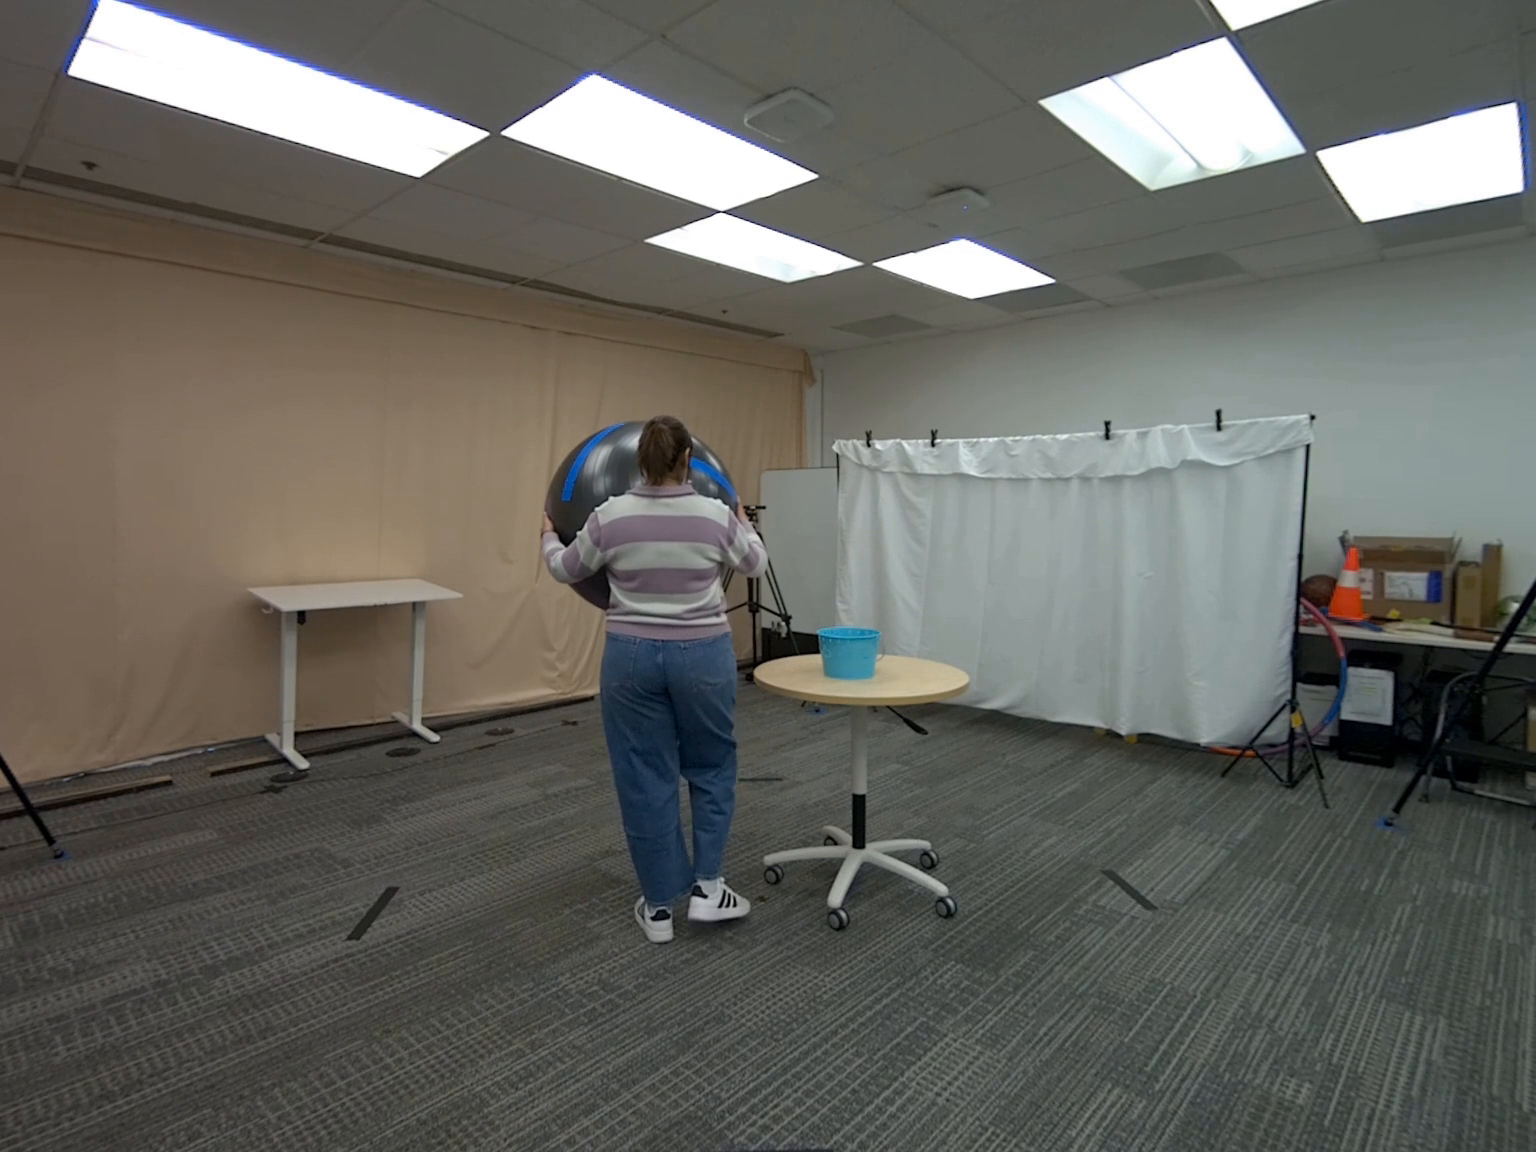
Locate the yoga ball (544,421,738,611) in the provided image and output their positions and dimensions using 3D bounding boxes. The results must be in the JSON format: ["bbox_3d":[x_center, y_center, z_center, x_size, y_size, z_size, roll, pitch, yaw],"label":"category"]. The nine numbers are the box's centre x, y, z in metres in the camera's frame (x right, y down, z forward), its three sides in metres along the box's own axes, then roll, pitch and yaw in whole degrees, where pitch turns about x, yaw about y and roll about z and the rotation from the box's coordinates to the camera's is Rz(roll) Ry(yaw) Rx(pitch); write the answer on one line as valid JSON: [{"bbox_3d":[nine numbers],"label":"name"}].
[{"bbox_3d":[-0.477,-0.213,3.267,0.757,0.756,0.760,0,4,-2],"label":"yoga ball"}]
